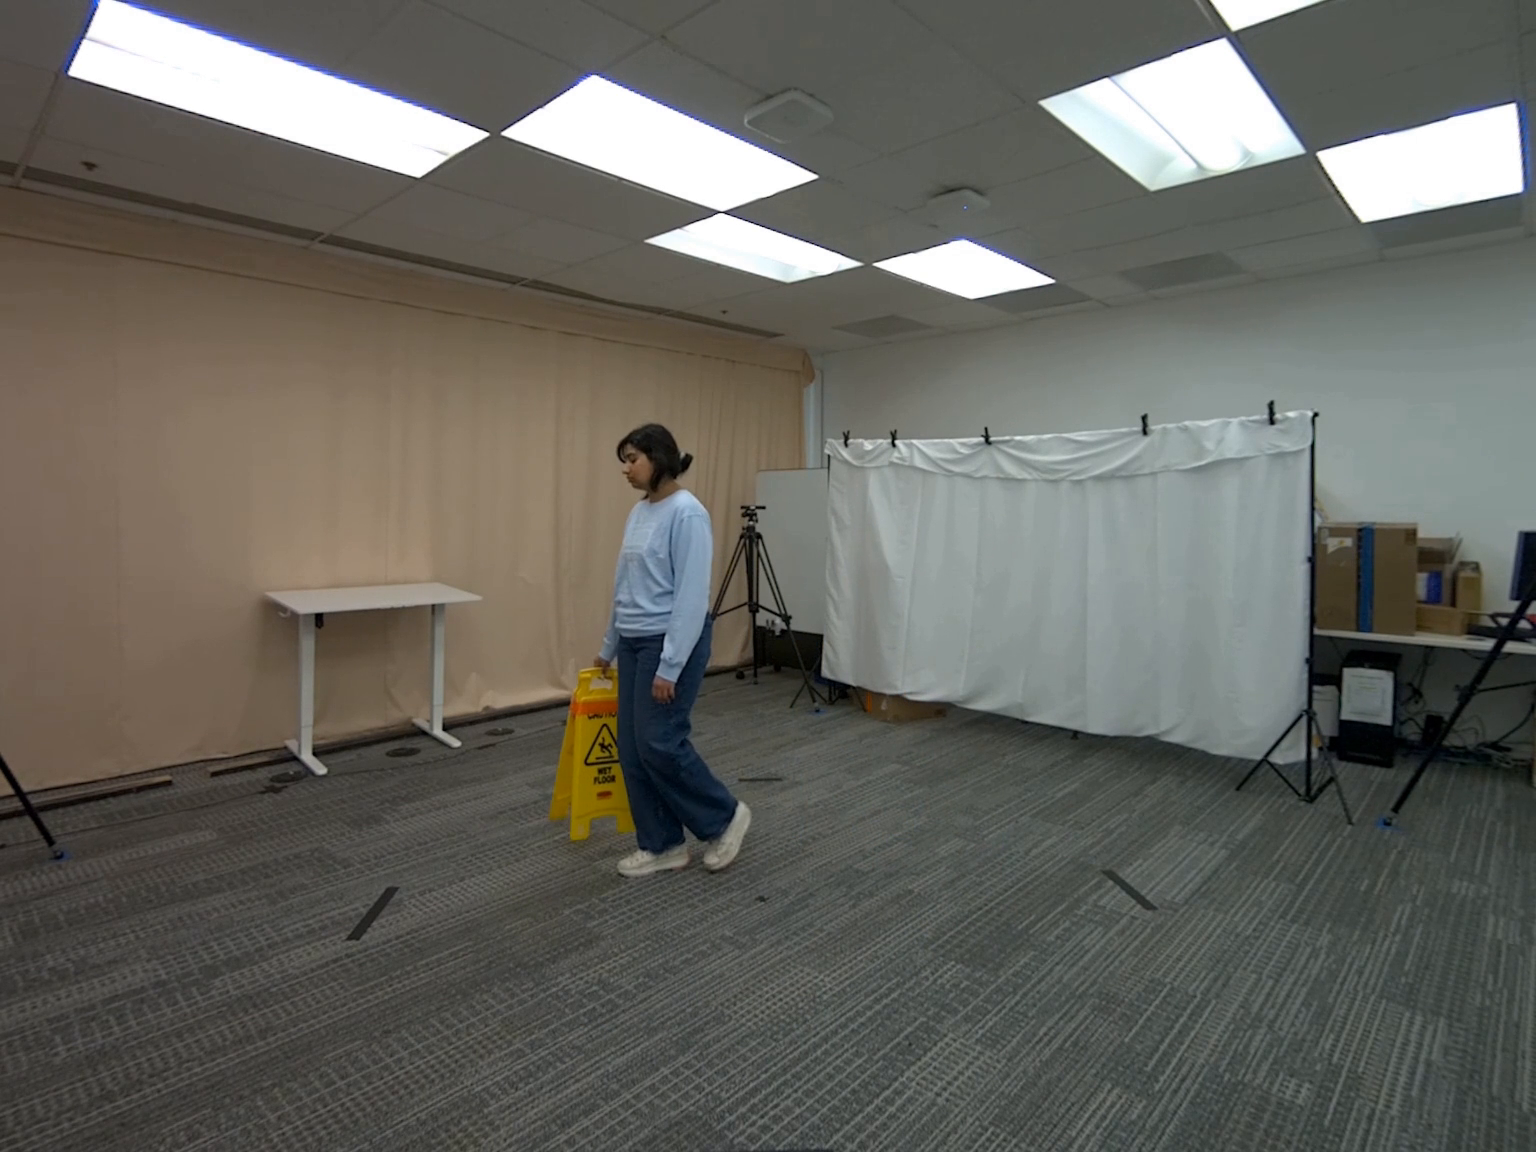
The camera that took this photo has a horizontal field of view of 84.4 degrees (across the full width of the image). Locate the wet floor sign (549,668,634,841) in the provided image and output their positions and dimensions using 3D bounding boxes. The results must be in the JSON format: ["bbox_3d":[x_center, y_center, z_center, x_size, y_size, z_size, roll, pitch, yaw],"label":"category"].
[{"bbox_3d":[-0.693,0.701,3.443,0.274,0.645,0.299,3,3,-34],"label":"wet floor sign"}]
